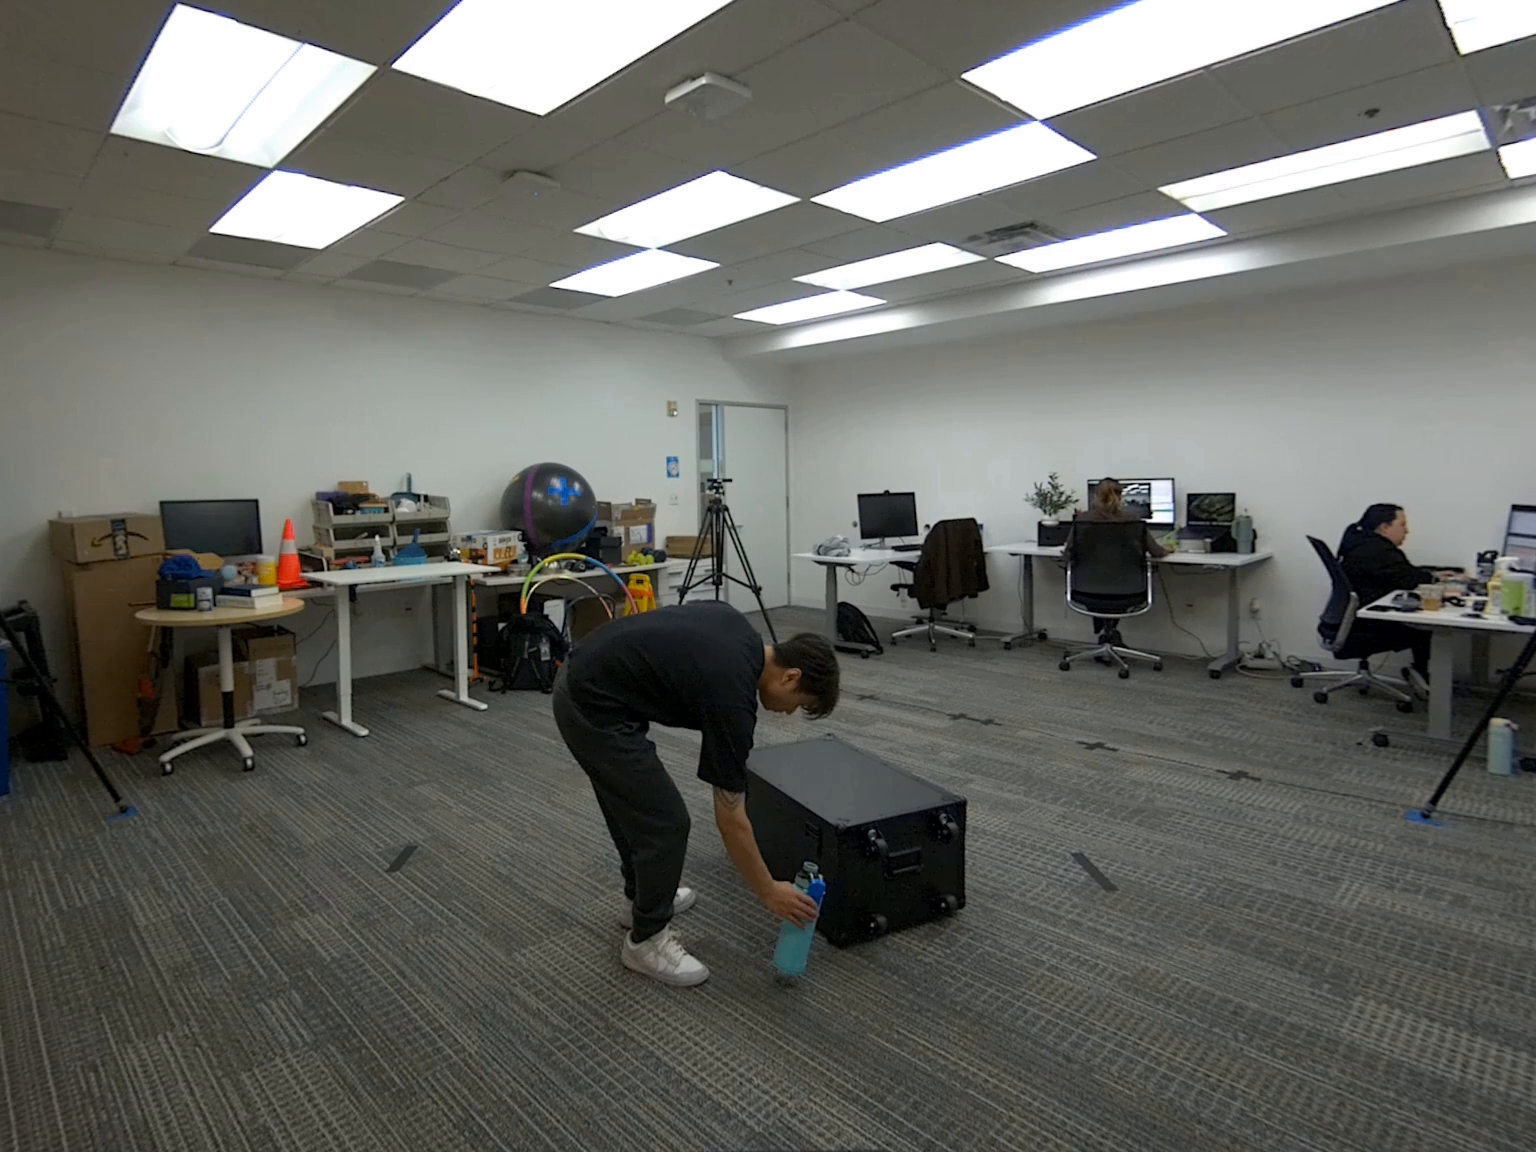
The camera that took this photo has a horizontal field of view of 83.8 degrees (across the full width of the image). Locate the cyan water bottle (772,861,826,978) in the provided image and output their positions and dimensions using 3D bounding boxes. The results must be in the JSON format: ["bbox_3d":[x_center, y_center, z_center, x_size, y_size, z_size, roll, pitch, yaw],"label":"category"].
[{"bbox_3d":[0.095,0.941,2.371,0.092,0.283,0.092,15,2,-3],"label":"cyan water bottle"}]
